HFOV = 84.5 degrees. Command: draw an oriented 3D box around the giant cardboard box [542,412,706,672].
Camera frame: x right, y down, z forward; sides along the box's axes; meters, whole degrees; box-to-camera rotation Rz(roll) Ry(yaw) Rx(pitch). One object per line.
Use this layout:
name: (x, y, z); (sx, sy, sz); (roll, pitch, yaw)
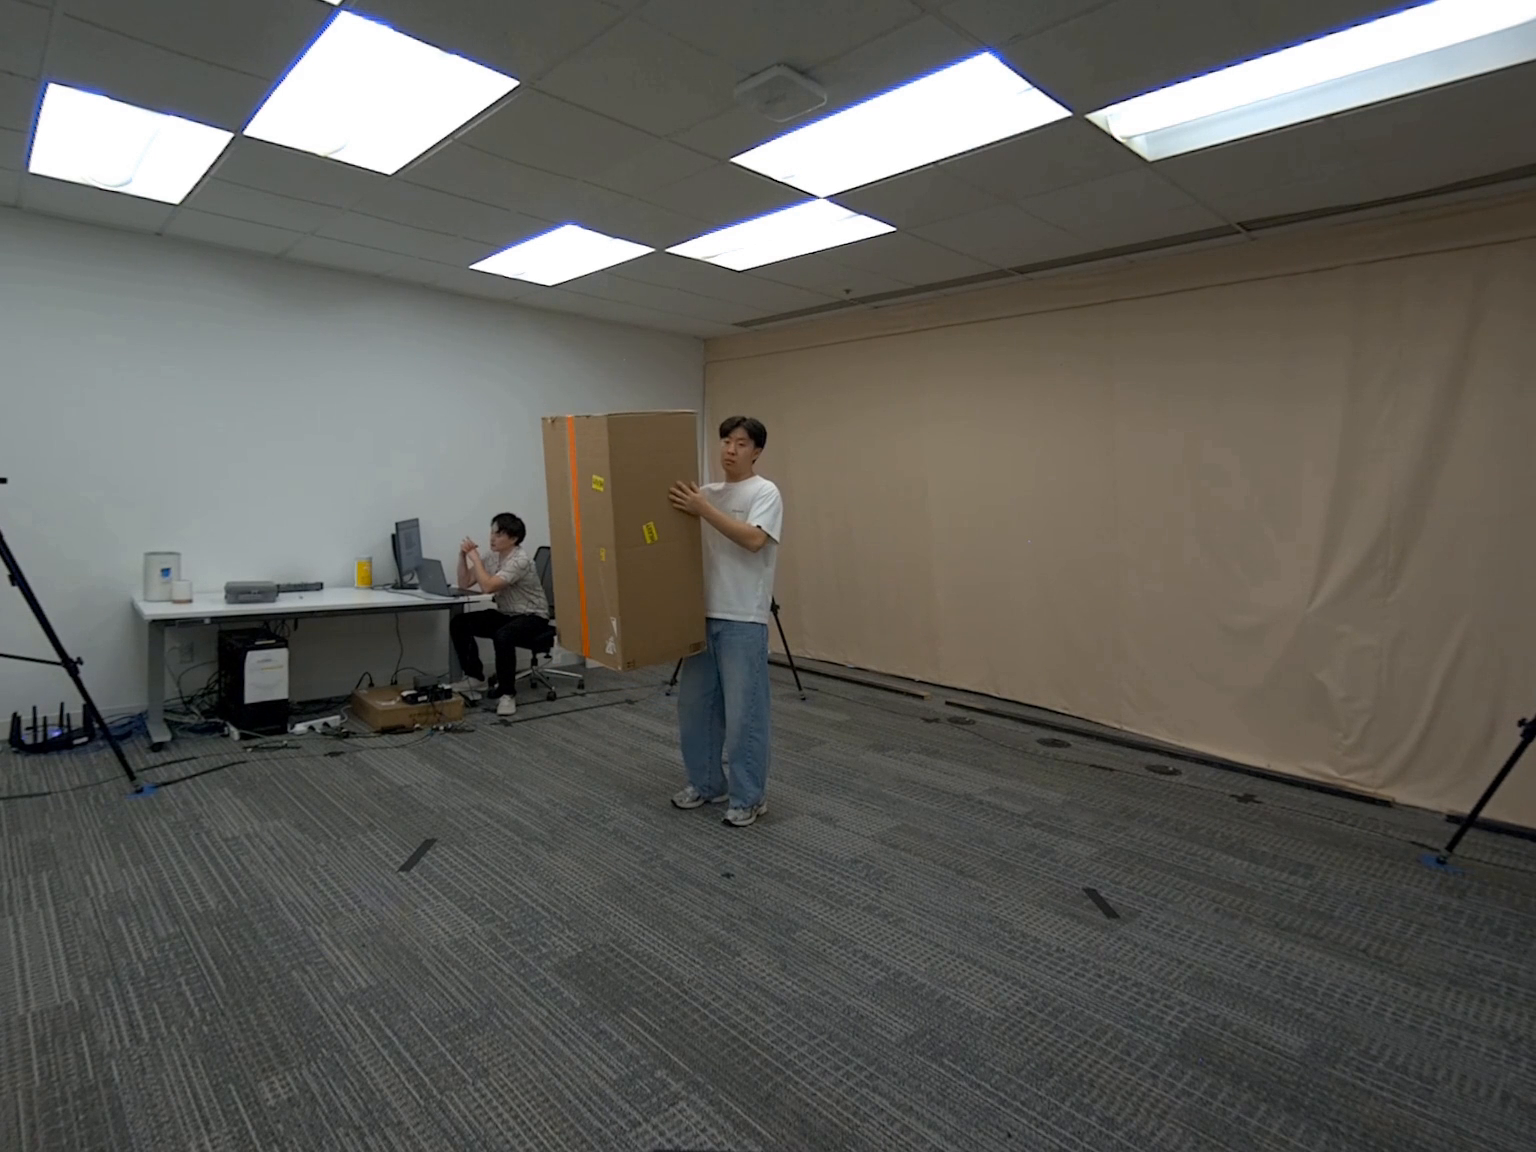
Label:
giant cardboard box: (-0.626, -0.179, 3.605); (0.418, 1.018, 0.593); (-9, 12, -39)
